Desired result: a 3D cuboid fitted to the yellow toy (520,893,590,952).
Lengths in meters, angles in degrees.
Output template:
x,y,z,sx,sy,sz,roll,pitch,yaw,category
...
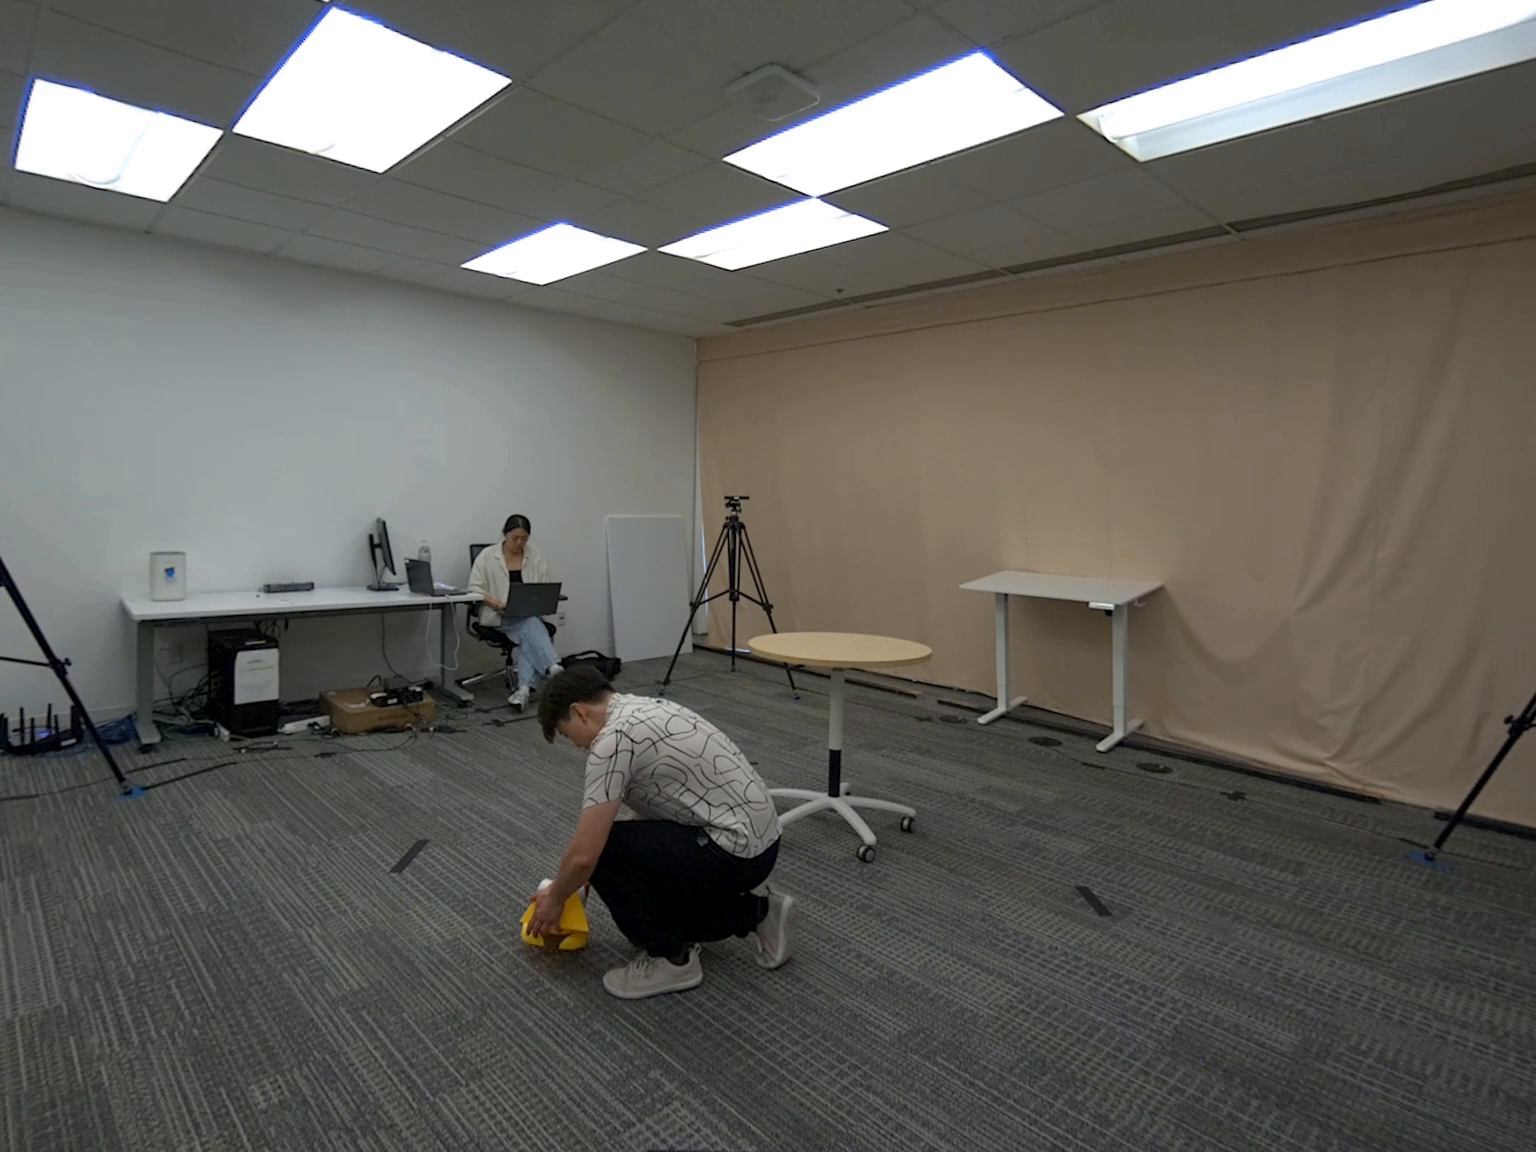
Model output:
x,y,z,sx,sy,sz,roll,pitch,yaw,category
-0.631,0.982,2.554,0.204,0.230,0.194,9,5,-4,yellow toy
